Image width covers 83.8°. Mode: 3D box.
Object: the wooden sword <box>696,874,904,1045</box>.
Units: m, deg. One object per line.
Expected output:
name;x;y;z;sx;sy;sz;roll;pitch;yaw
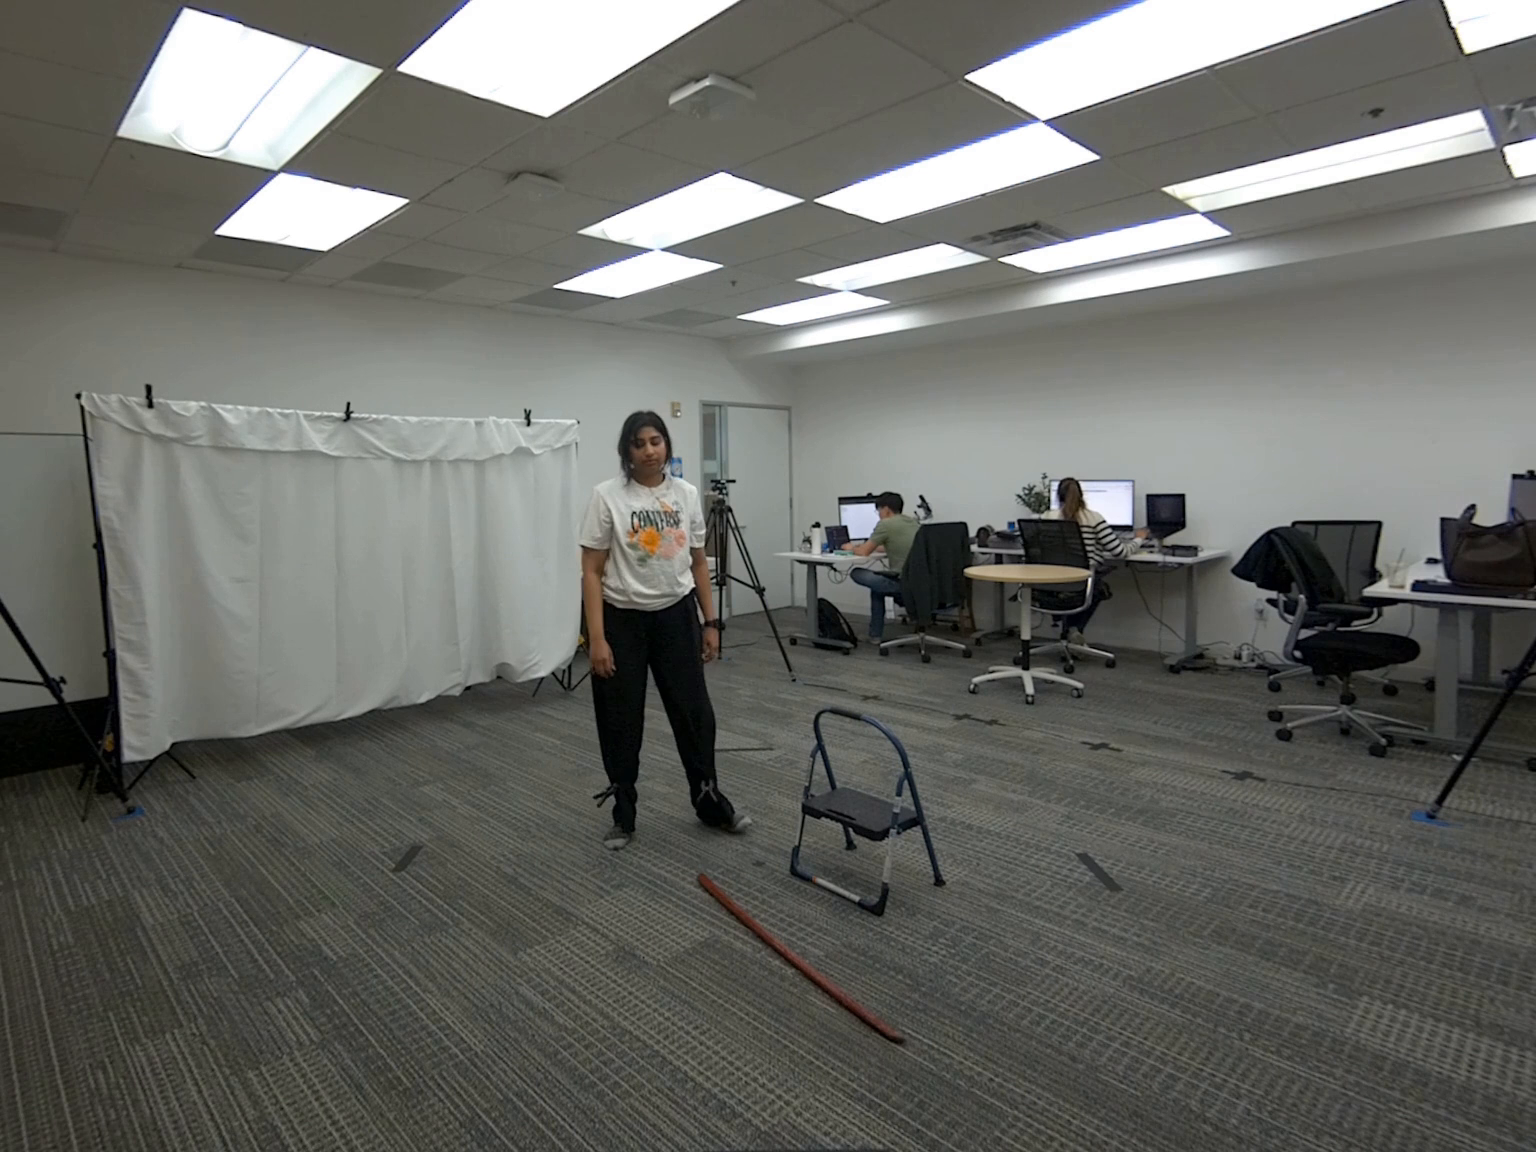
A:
wooden sword;0.038;1.080;2.561;0.023;0.051;1.055;25;-8;-32
